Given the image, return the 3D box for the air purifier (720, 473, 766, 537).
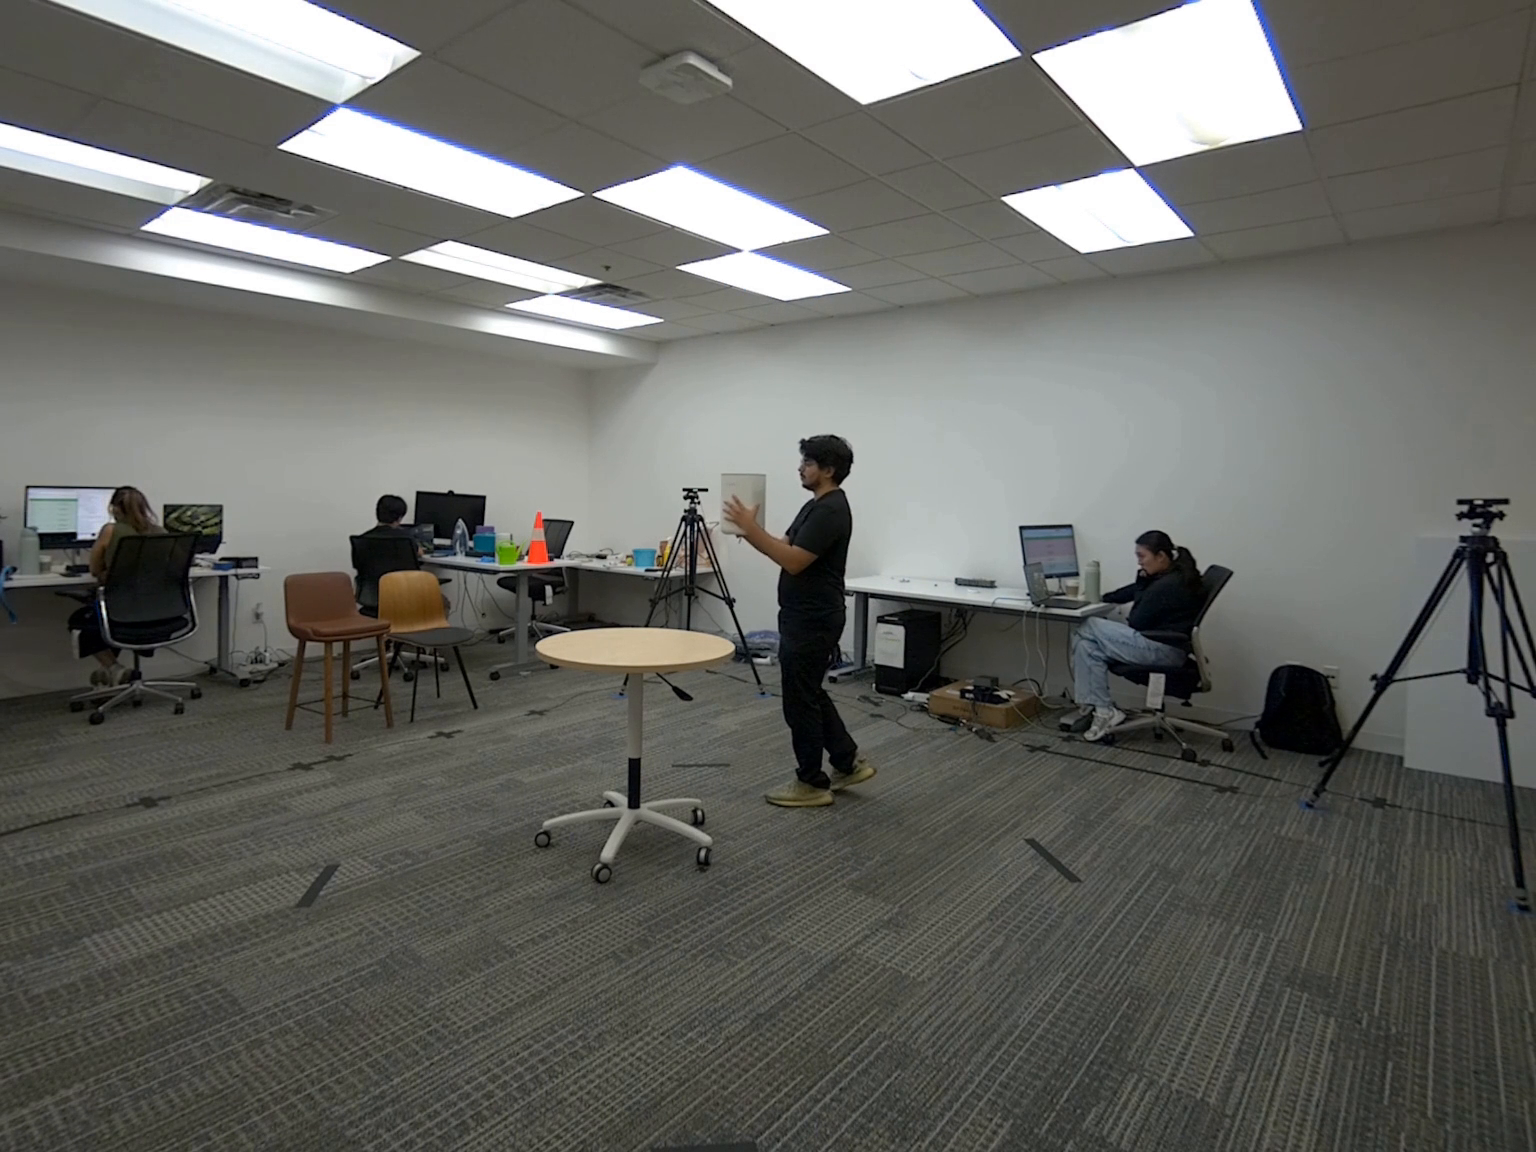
[{"bbox_3d":[-0.116,-0.324,3.746,0.176,0.264,0.167,4,6,33],"label":"air purifier"}]
